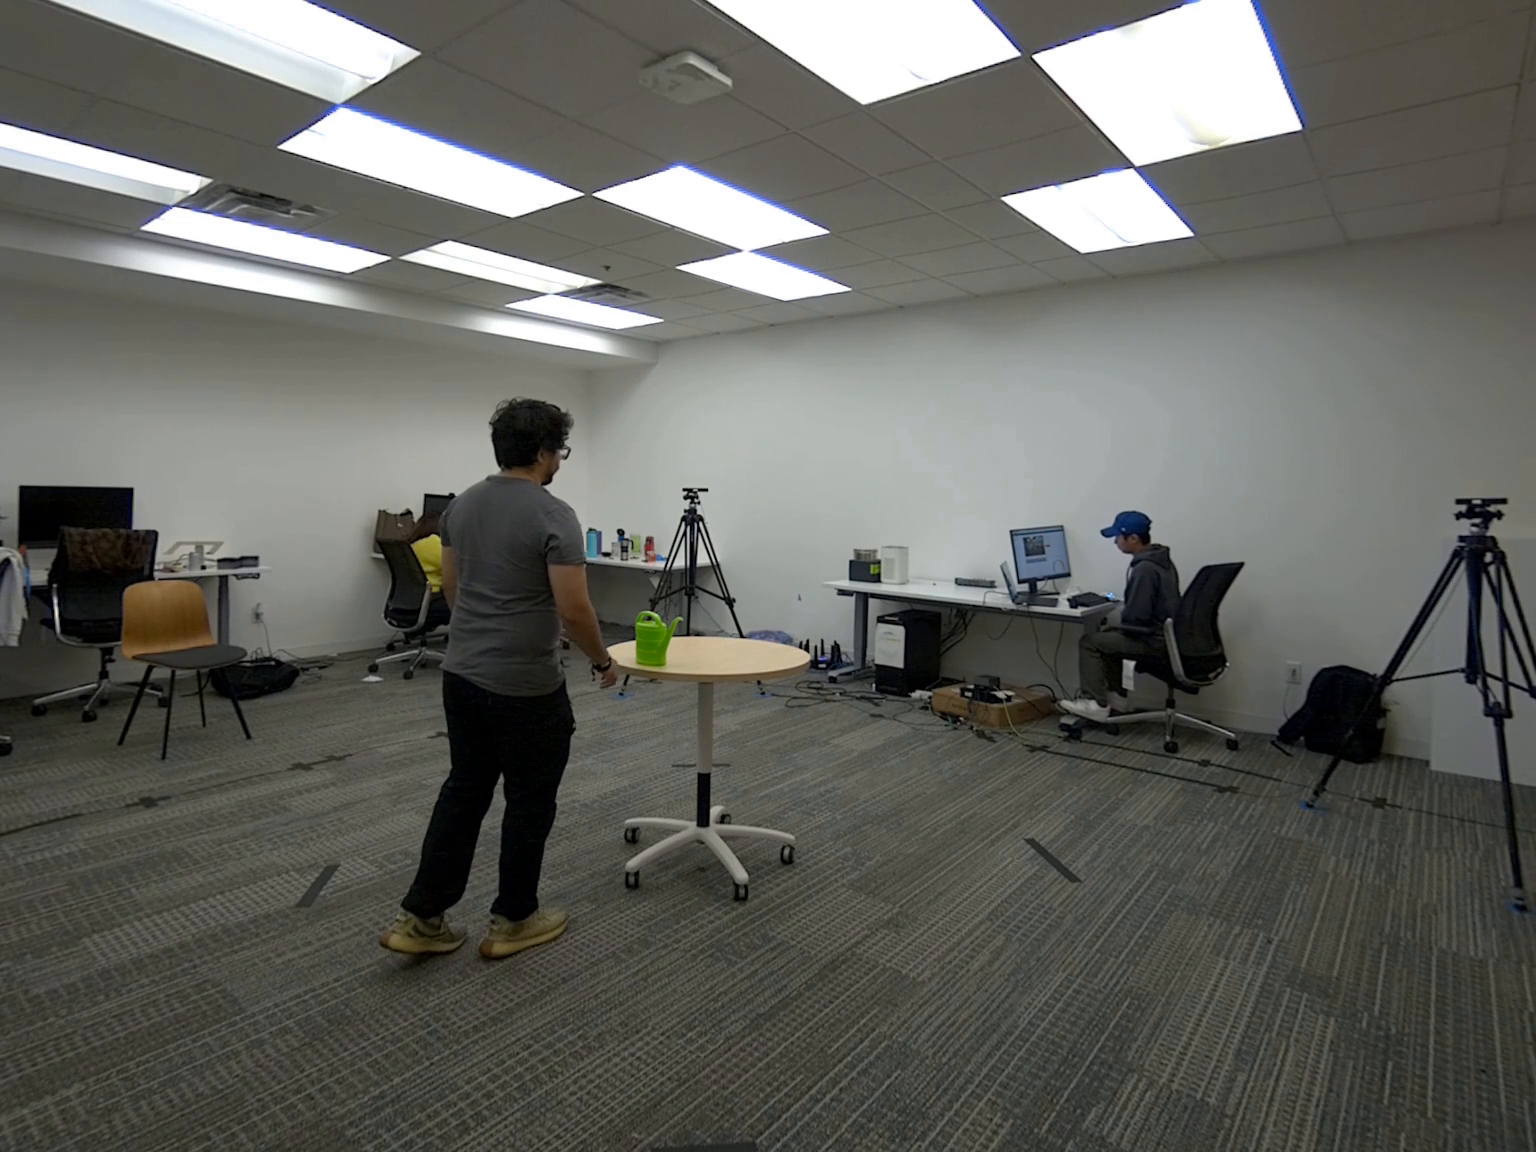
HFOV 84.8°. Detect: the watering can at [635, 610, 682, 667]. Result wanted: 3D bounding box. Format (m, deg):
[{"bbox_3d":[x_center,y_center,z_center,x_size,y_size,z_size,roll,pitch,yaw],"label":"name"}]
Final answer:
[{"bbox_3d":[-0.390,0.214,2.892,0.096,0.176,0.285,-1,3,-24],"label":"watering can"}]
